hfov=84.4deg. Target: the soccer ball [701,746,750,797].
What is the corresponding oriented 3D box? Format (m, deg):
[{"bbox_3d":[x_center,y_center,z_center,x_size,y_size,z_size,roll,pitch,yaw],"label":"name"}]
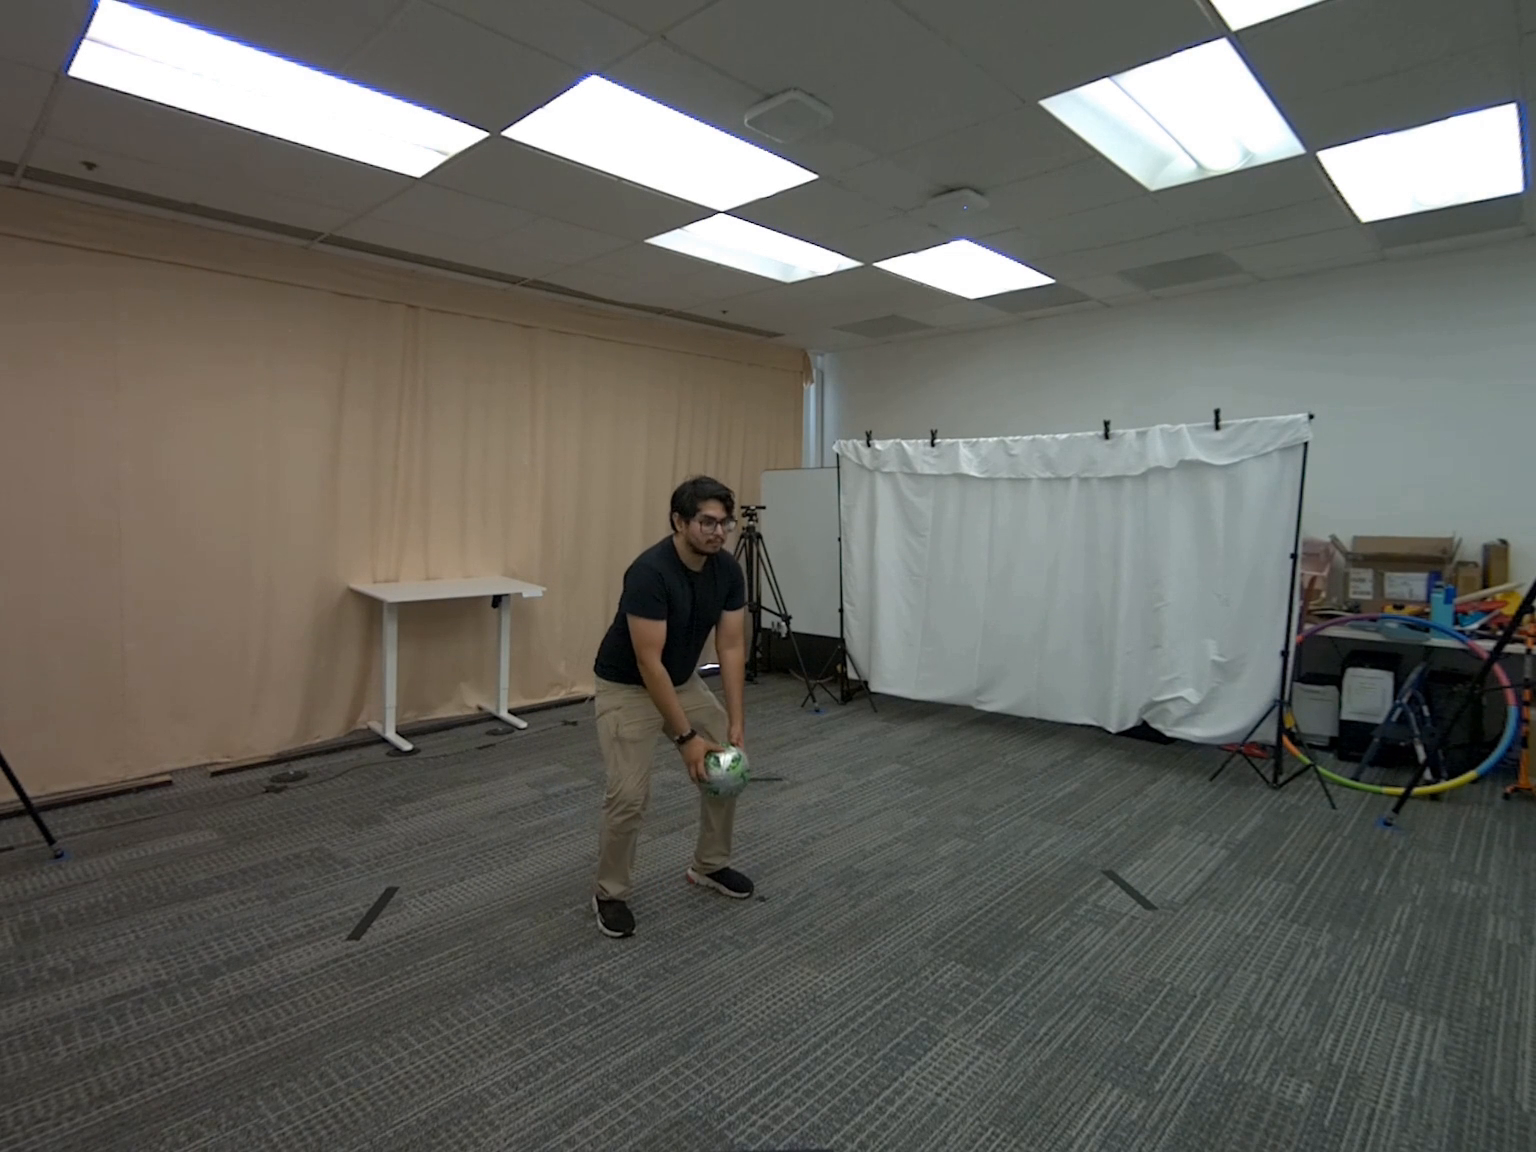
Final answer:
[{"bbox_3d":[-0.148,0.626,2.719,0.187,0.187,0.188,0,4,-2],"label":"soccer ball"}]
